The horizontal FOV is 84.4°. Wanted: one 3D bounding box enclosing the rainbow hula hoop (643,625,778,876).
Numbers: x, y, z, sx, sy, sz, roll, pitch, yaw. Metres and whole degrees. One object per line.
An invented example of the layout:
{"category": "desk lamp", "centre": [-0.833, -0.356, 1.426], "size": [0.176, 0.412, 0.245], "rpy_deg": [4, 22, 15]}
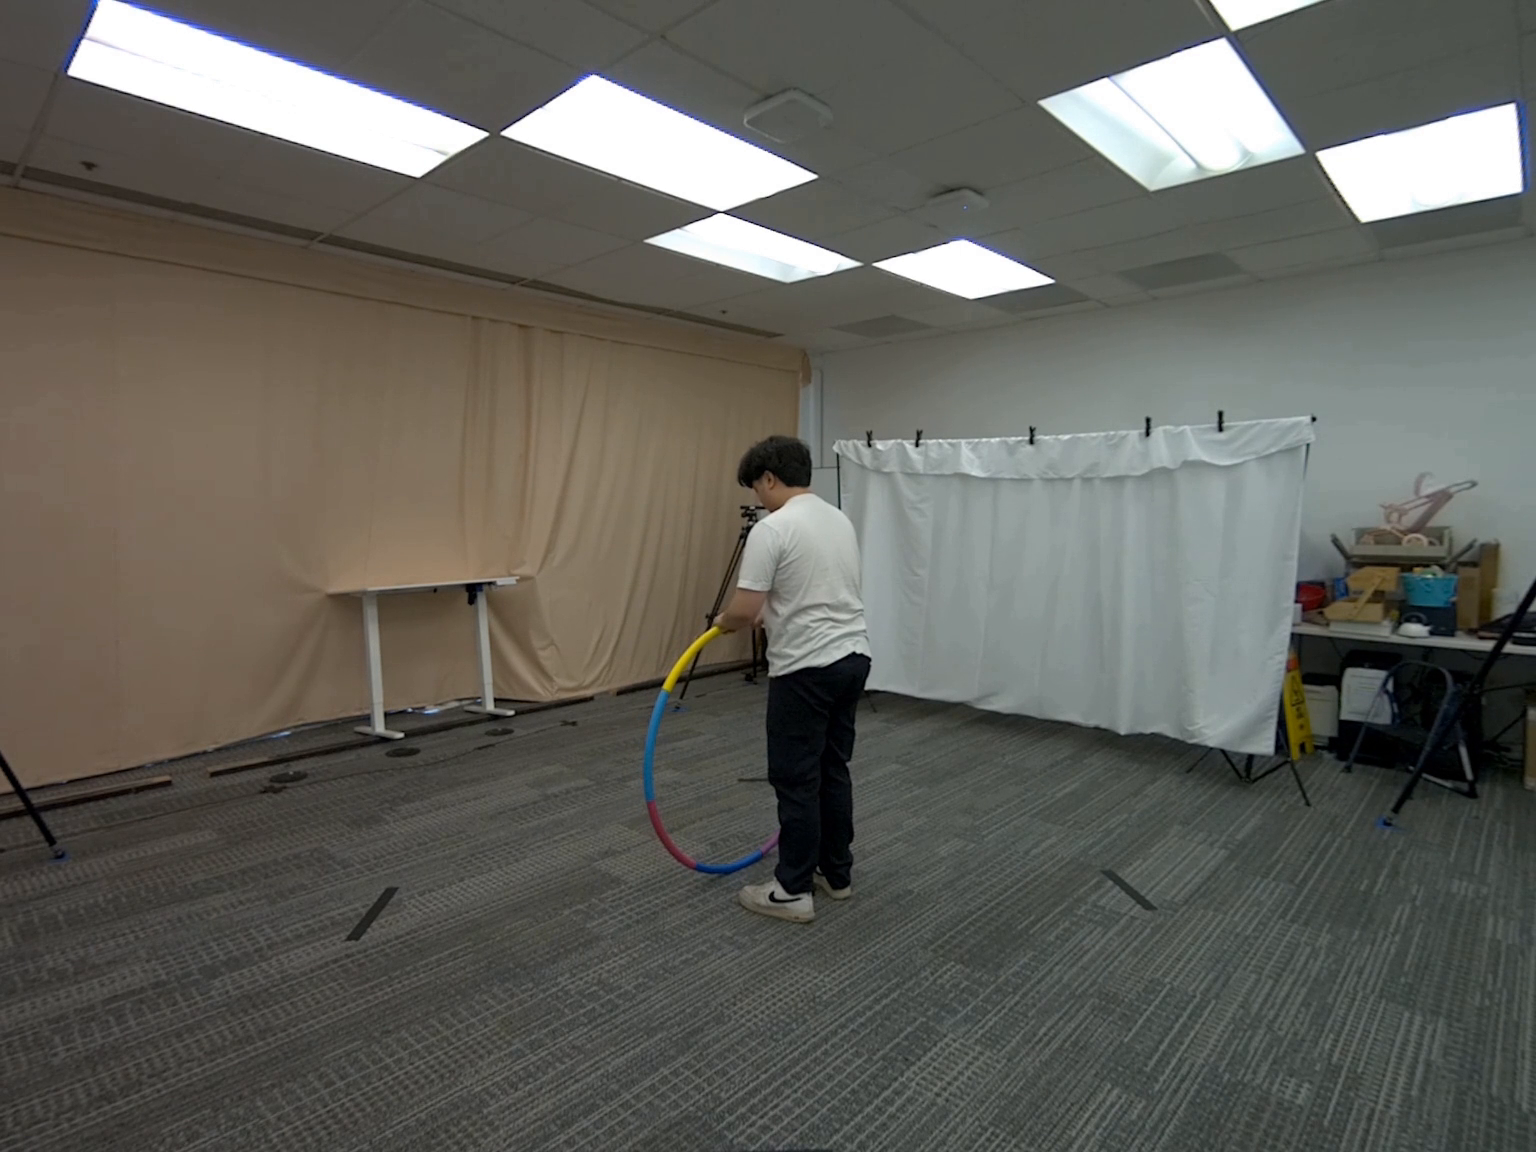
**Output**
{"category": "rainbow hula hoop", "centre": [-0.087, 0.641, 3.219], "size": [0.053, 0.983, 0.955], "rpy_deg": [4, 6, 45]}
